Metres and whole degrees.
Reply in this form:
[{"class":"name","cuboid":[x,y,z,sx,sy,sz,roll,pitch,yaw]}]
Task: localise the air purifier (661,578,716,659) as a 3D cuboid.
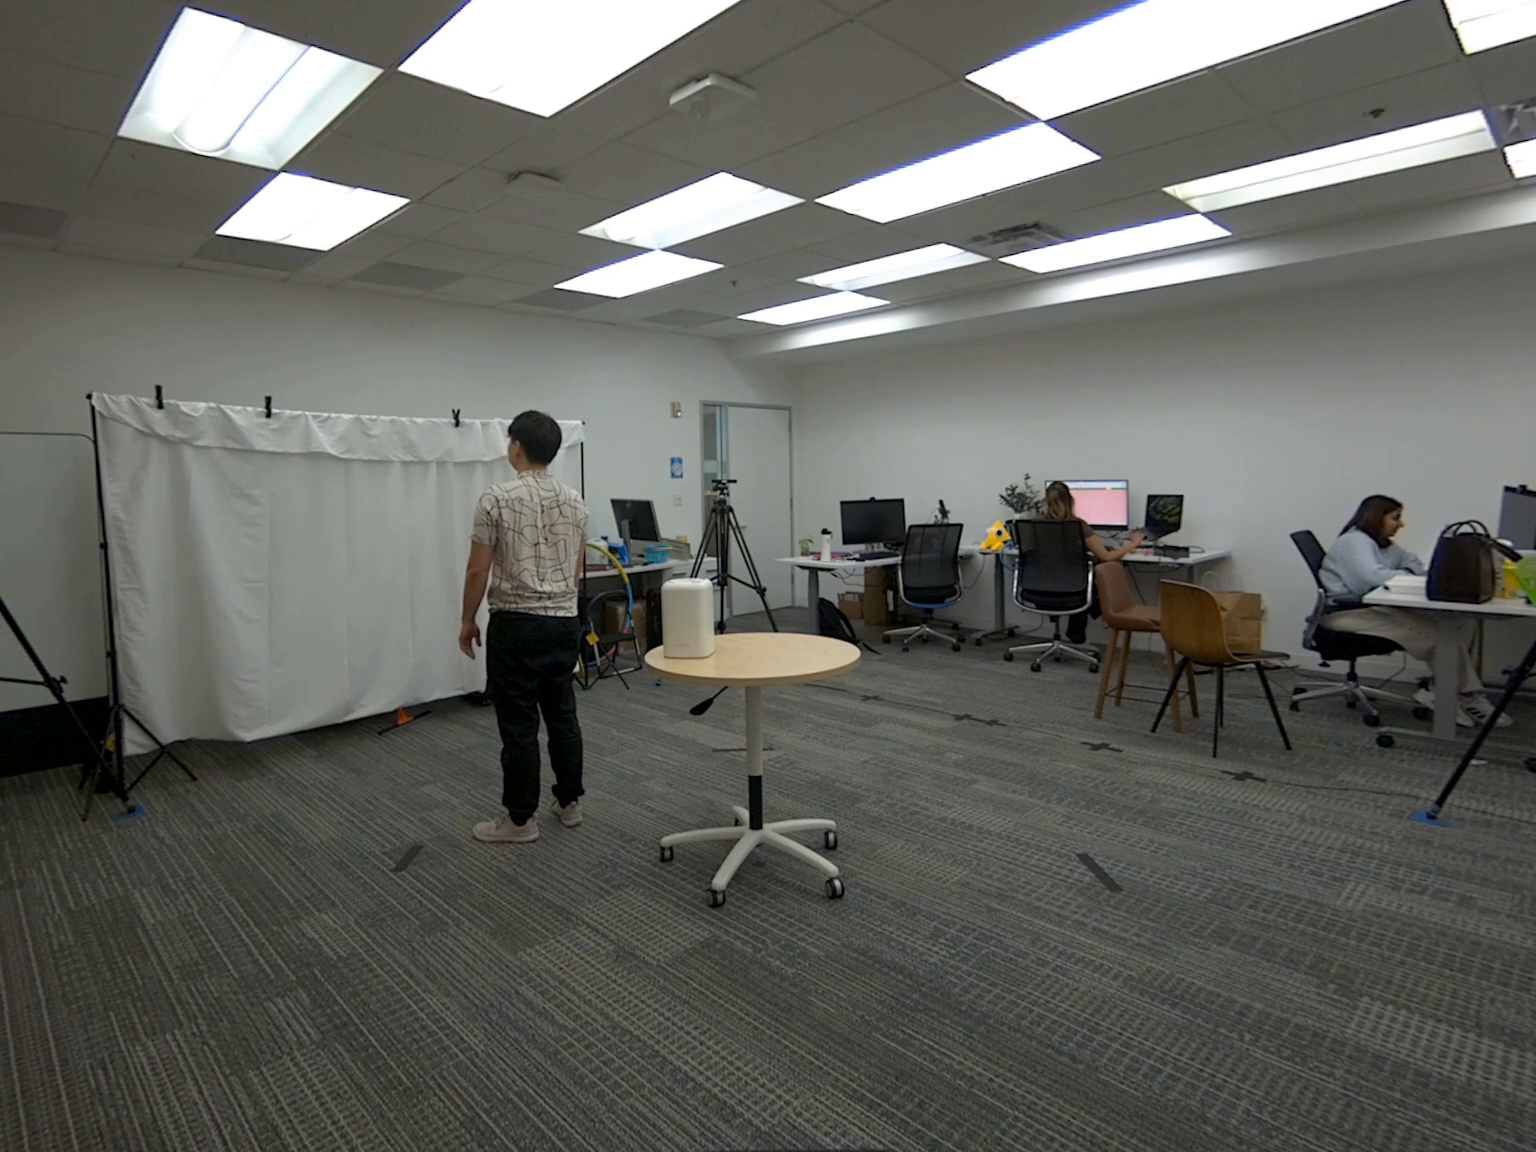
[{"class":"air purifier","cuboid":[-0.285,0.145,3.059,0.173,0.264,0.170,-2,5,13]}]
